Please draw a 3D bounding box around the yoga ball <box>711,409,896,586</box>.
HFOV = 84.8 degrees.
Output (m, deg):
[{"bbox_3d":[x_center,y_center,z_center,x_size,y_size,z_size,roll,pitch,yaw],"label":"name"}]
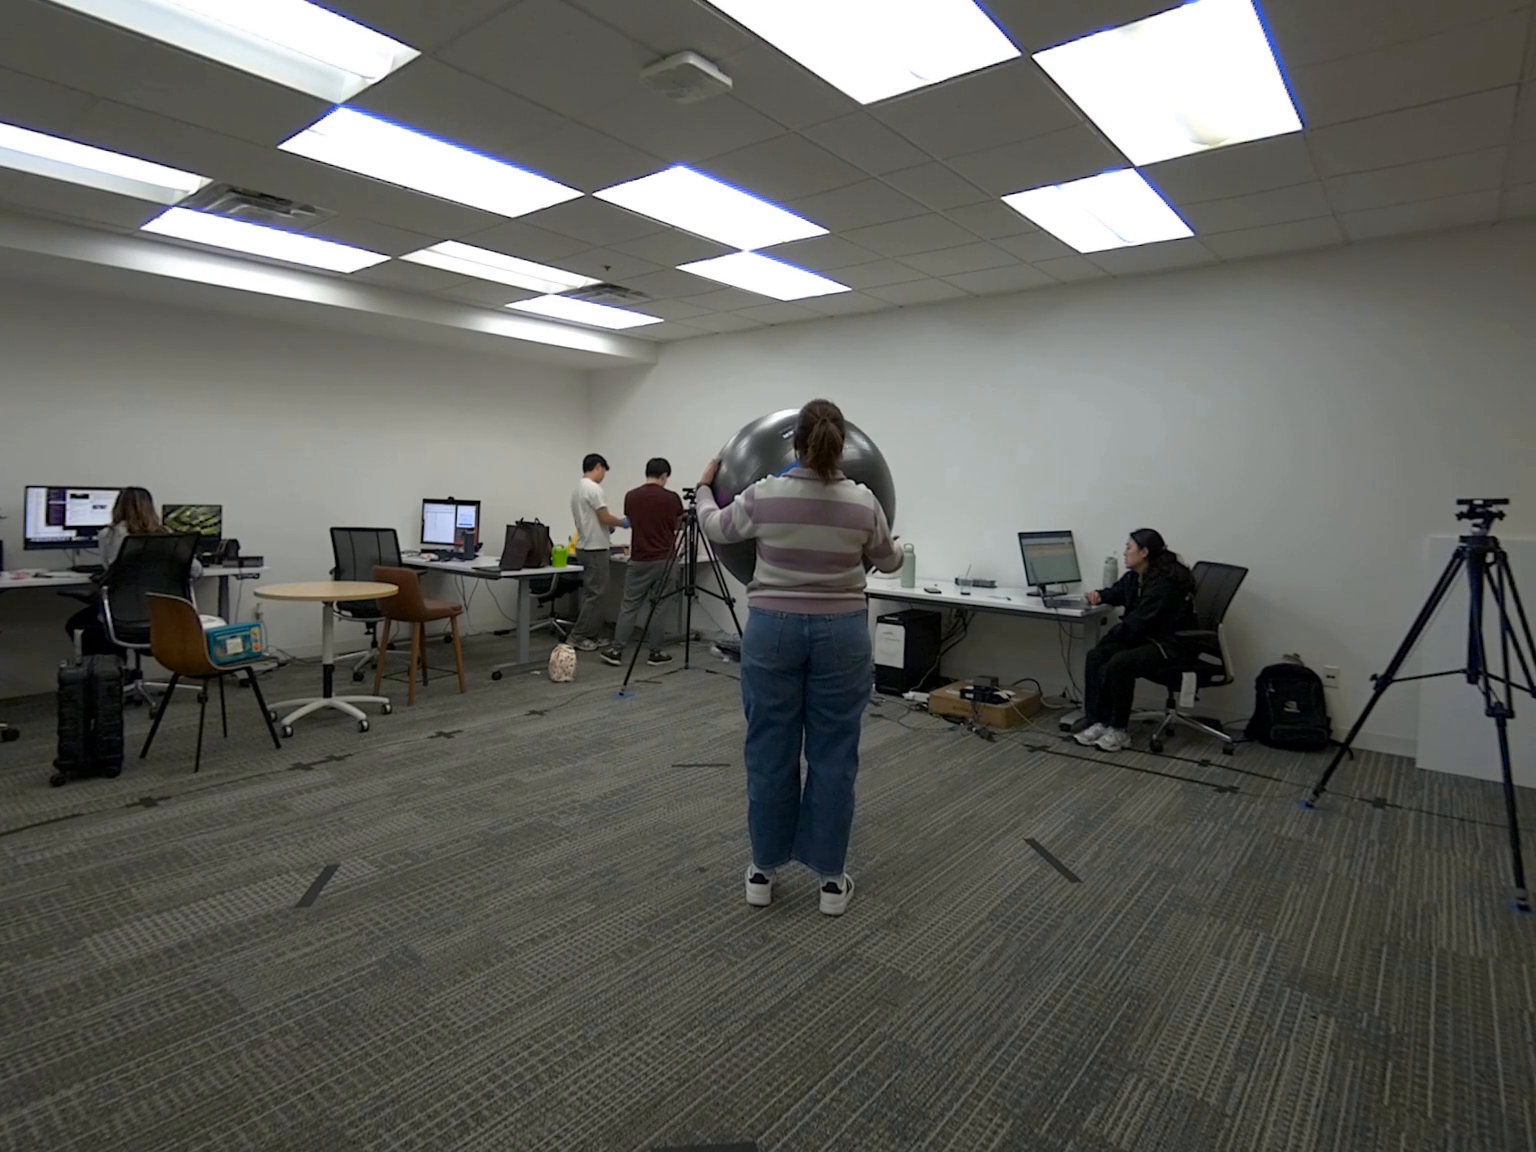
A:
[{"bbox_3d":[0.105,-0.285,3.386,0.757,0.756,0.761,1,4,-2],"label":"yoga ball"}]
